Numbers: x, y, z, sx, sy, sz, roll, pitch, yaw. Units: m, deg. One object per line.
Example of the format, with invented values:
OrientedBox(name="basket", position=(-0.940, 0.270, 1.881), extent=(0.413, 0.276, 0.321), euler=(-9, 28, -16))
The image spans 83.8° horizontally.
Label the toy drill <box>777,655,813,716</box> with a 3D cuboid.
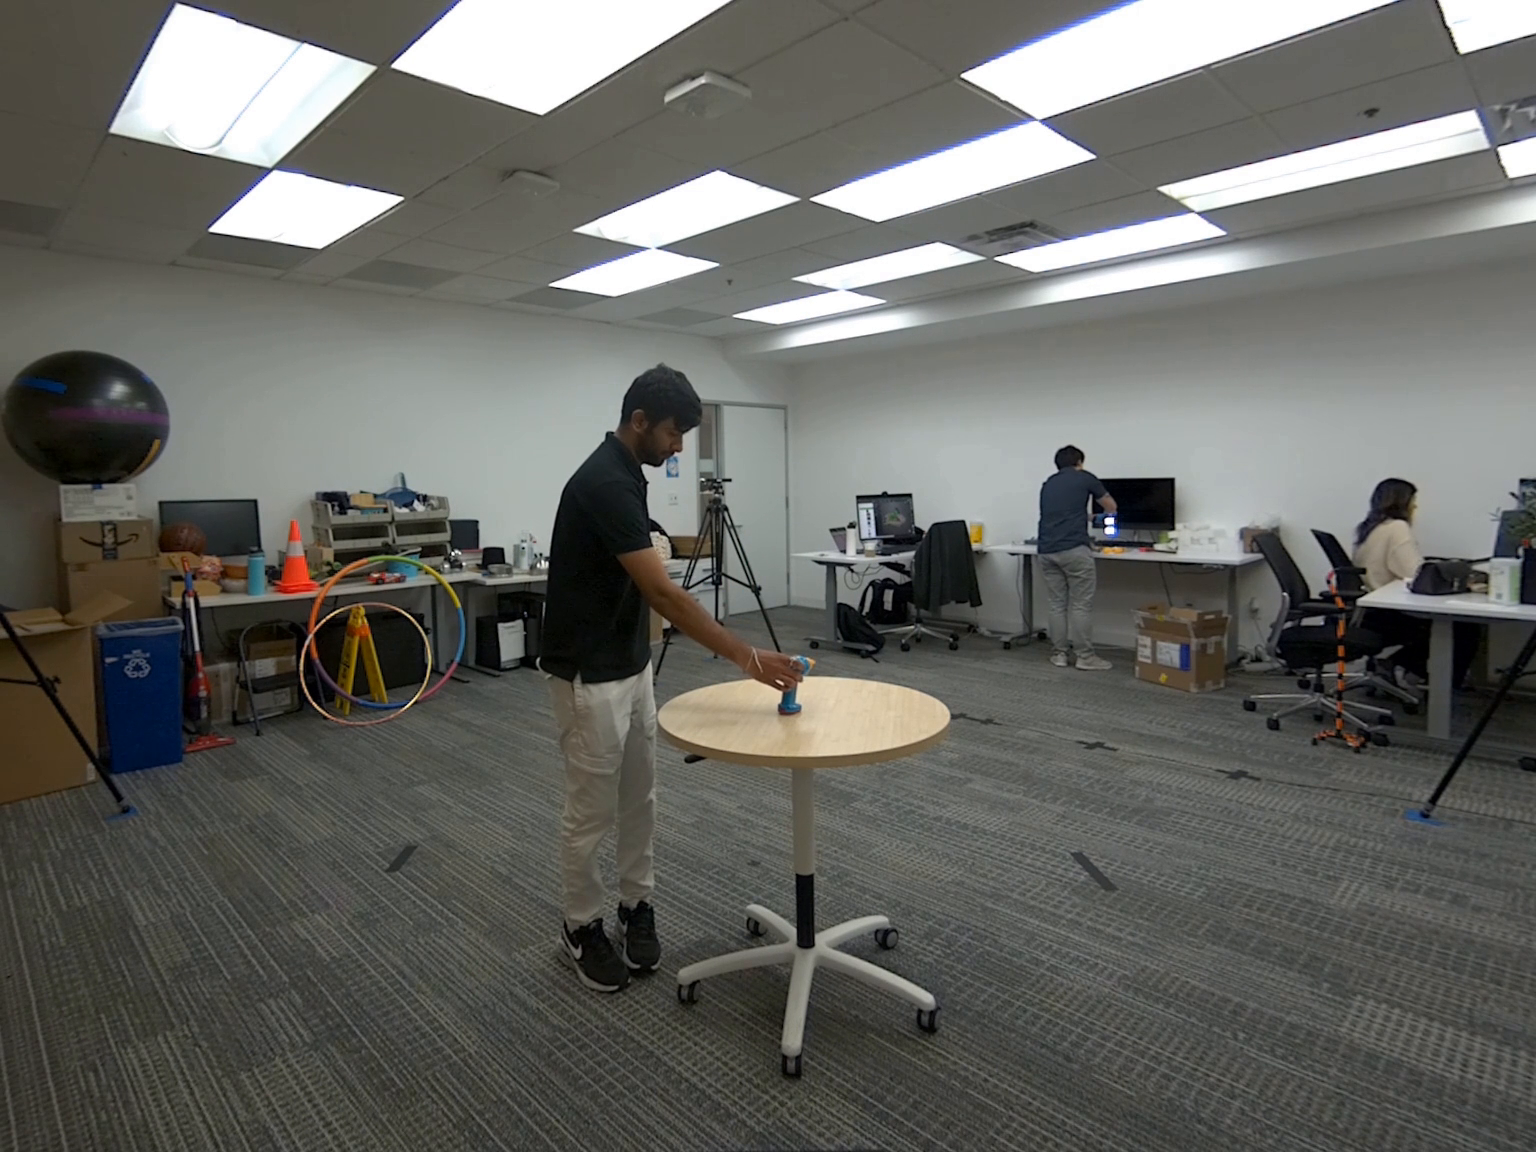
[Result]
OrientedBox(name="toy drill", position=(0.084, 0.277, 2.279), extent=(0.063, 0.145, 0.166), euler=(7, 9, 33))
